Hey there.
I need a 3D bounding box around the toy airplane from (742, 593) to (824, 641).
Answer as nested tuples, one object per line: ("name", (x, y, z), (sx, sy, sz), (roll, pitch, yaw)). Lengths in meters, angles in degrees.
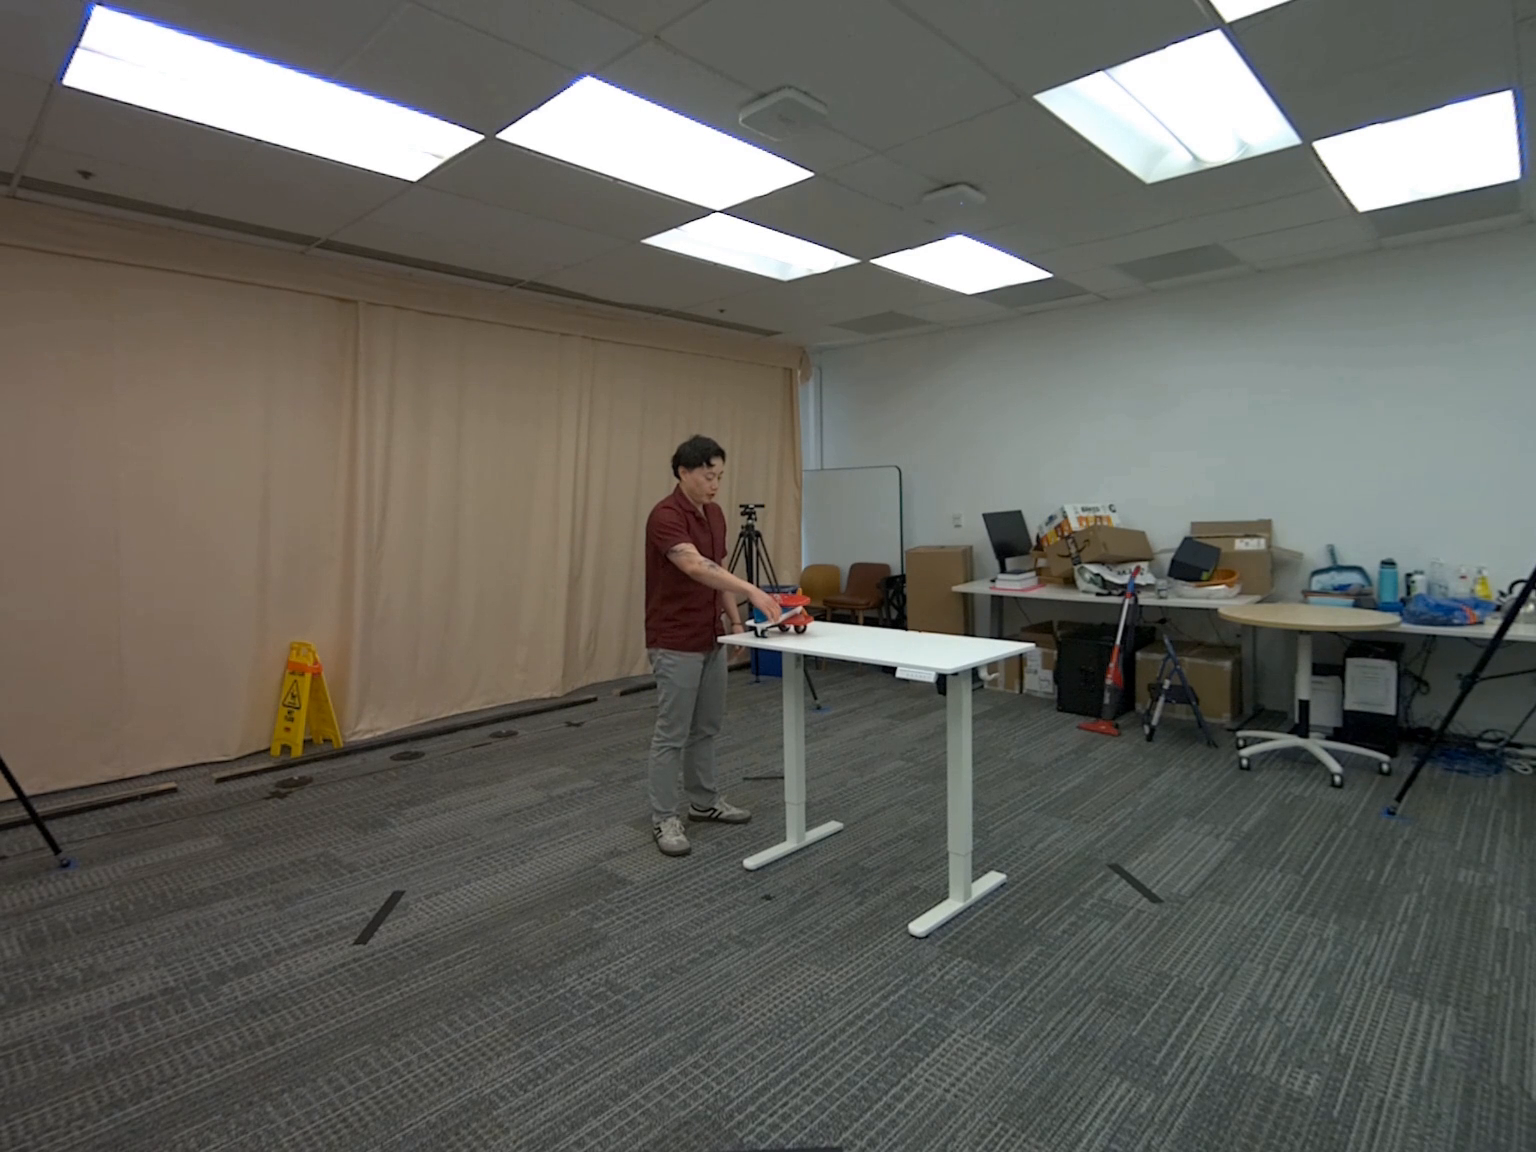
("toy airplane", (0.059, 0.153, 3.273), (0.256, 0.156, 0.255), (-1, 2, 17))
